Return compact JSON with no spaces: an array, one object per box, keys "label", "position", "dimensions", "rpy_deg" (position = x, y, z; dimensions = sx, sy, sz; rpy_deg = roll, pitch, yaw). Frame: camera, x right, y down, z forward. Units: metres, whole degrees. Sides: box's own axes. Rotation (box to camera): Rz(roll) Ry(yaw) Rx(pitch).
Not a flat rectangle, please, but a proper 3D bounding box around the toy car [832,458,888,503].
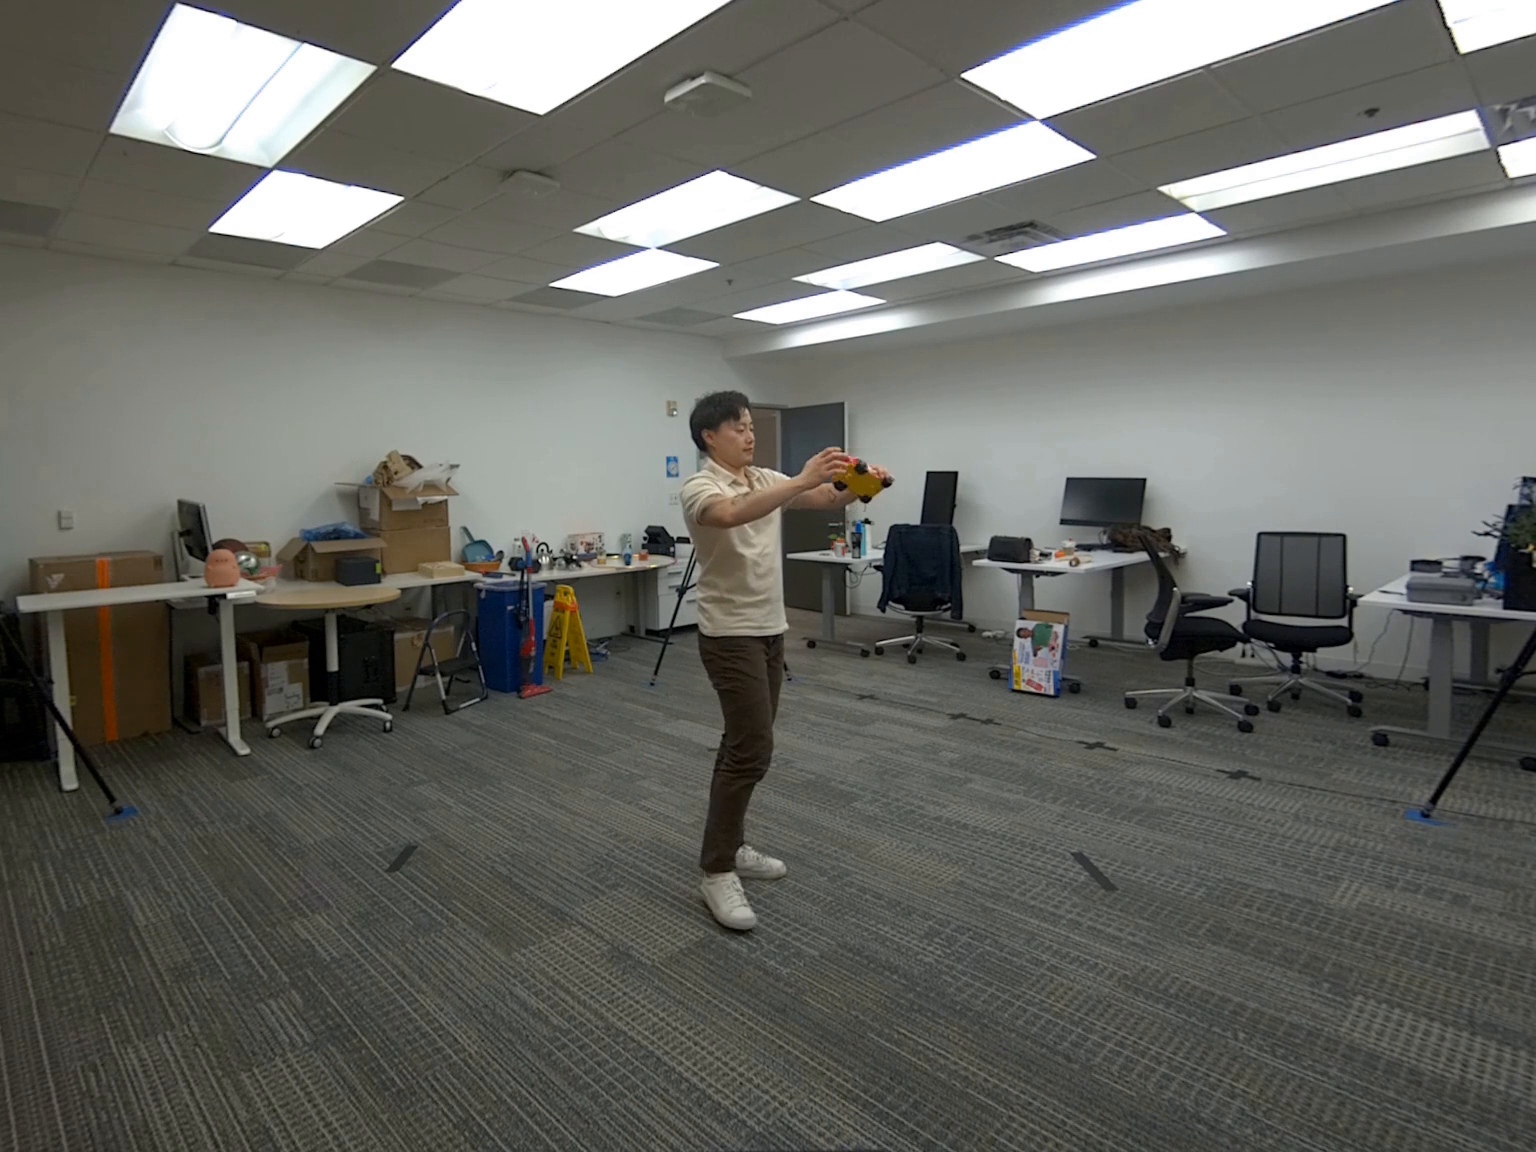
[{"label":"toy car","position":[0.289,-0.308,2.729],"dimensions":[0.245,0.086,0.131],"rpy_deg":[26,-53,-36]}]
